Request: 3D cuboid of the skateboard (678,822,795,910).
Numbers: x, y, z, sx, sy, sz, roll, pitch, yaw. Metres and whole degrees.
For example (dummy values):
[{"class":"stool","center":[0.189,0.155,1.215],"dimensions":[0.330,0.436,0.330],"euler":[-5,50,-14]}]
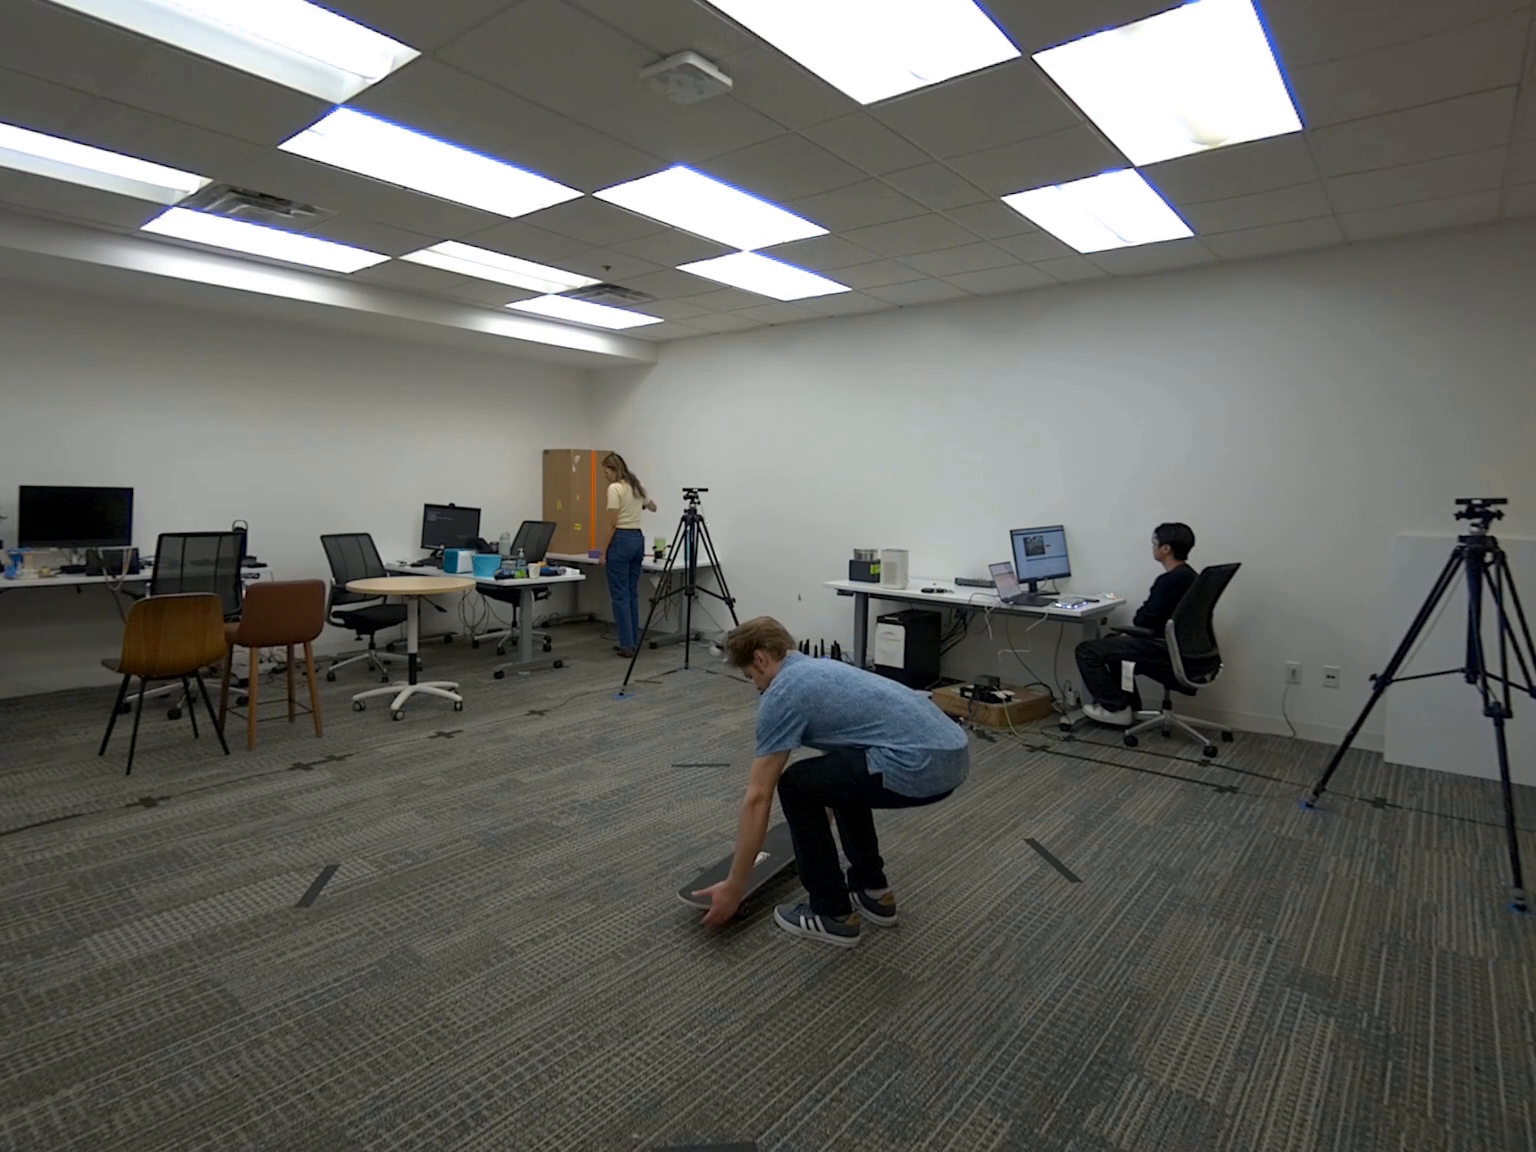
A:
[{"class":"skateboard","center":[-0.061,1.025,2.960],"dimensions":[0.199,0.110,0.765],"euler":[1,4,29]}]
